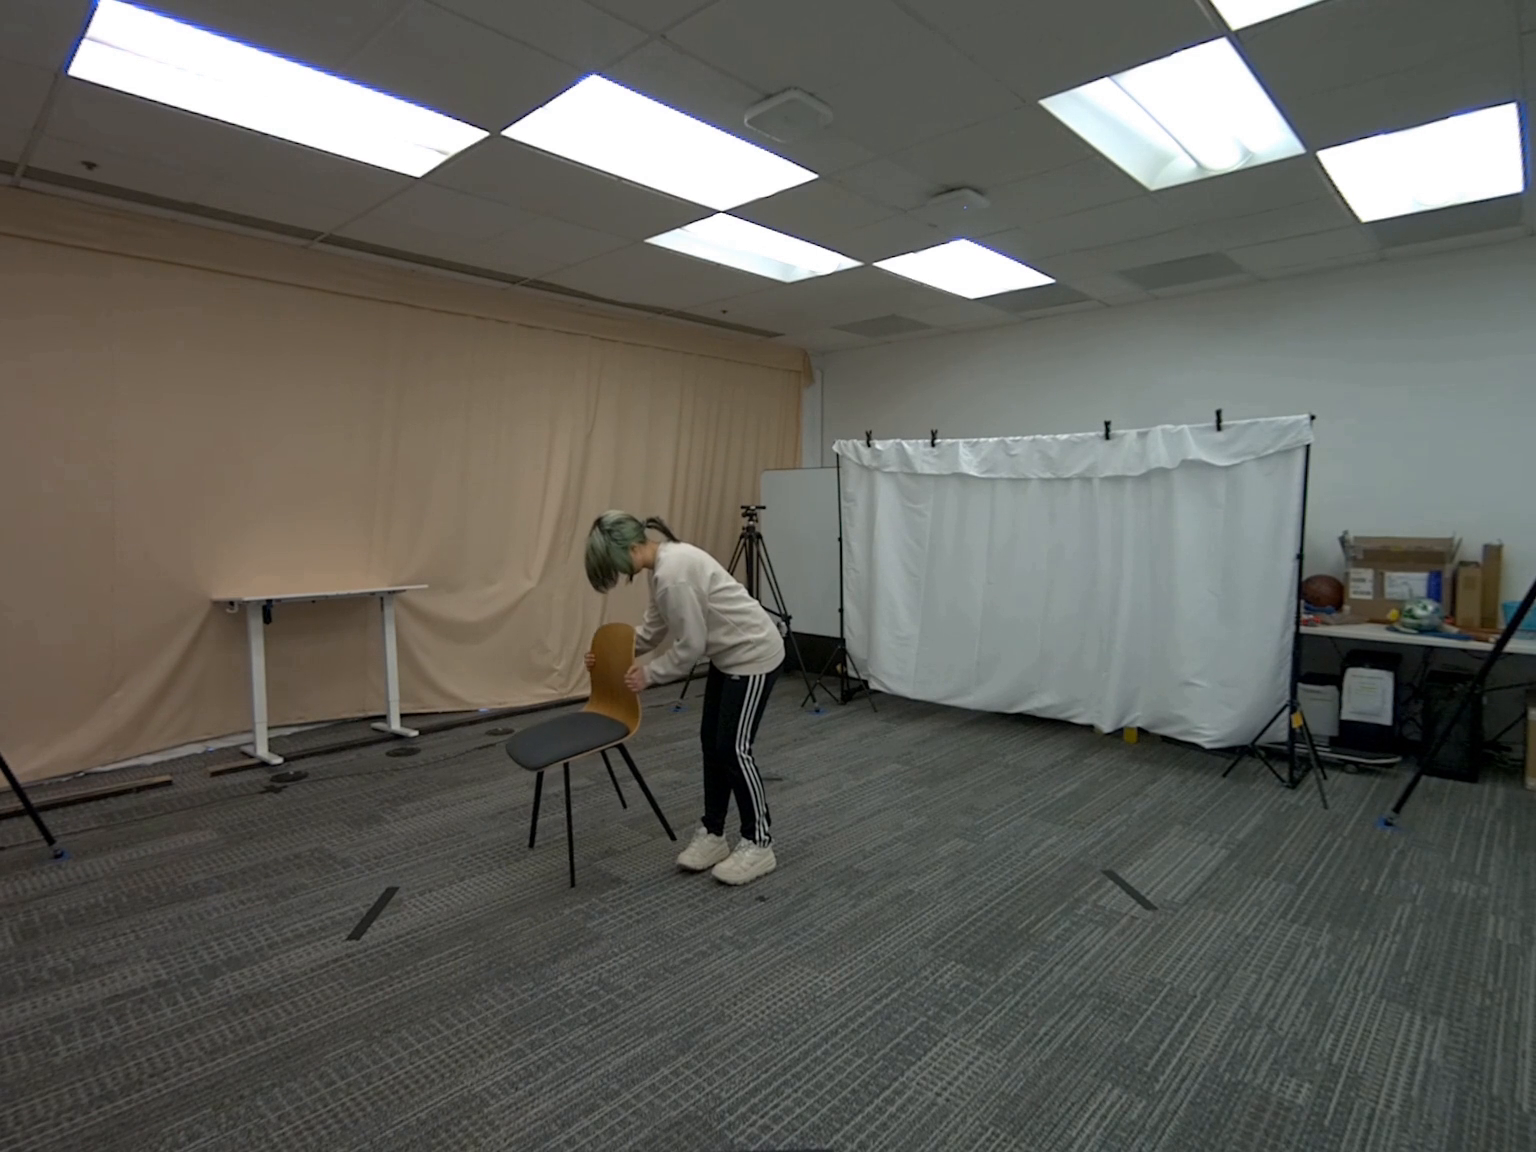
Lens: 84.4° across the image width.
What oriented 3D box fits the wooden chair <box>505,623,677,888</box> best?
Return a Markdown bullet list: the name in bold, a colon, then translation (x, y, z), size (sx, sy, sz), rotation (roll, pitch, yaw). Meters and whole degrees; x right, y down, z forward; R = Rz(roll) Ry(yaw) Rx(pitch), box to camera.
- **wooden chair**: translation (-0.741, 0.668, 3.314), size (0.509, 0.873, 0.493), rotation (-9, 8, -33)
